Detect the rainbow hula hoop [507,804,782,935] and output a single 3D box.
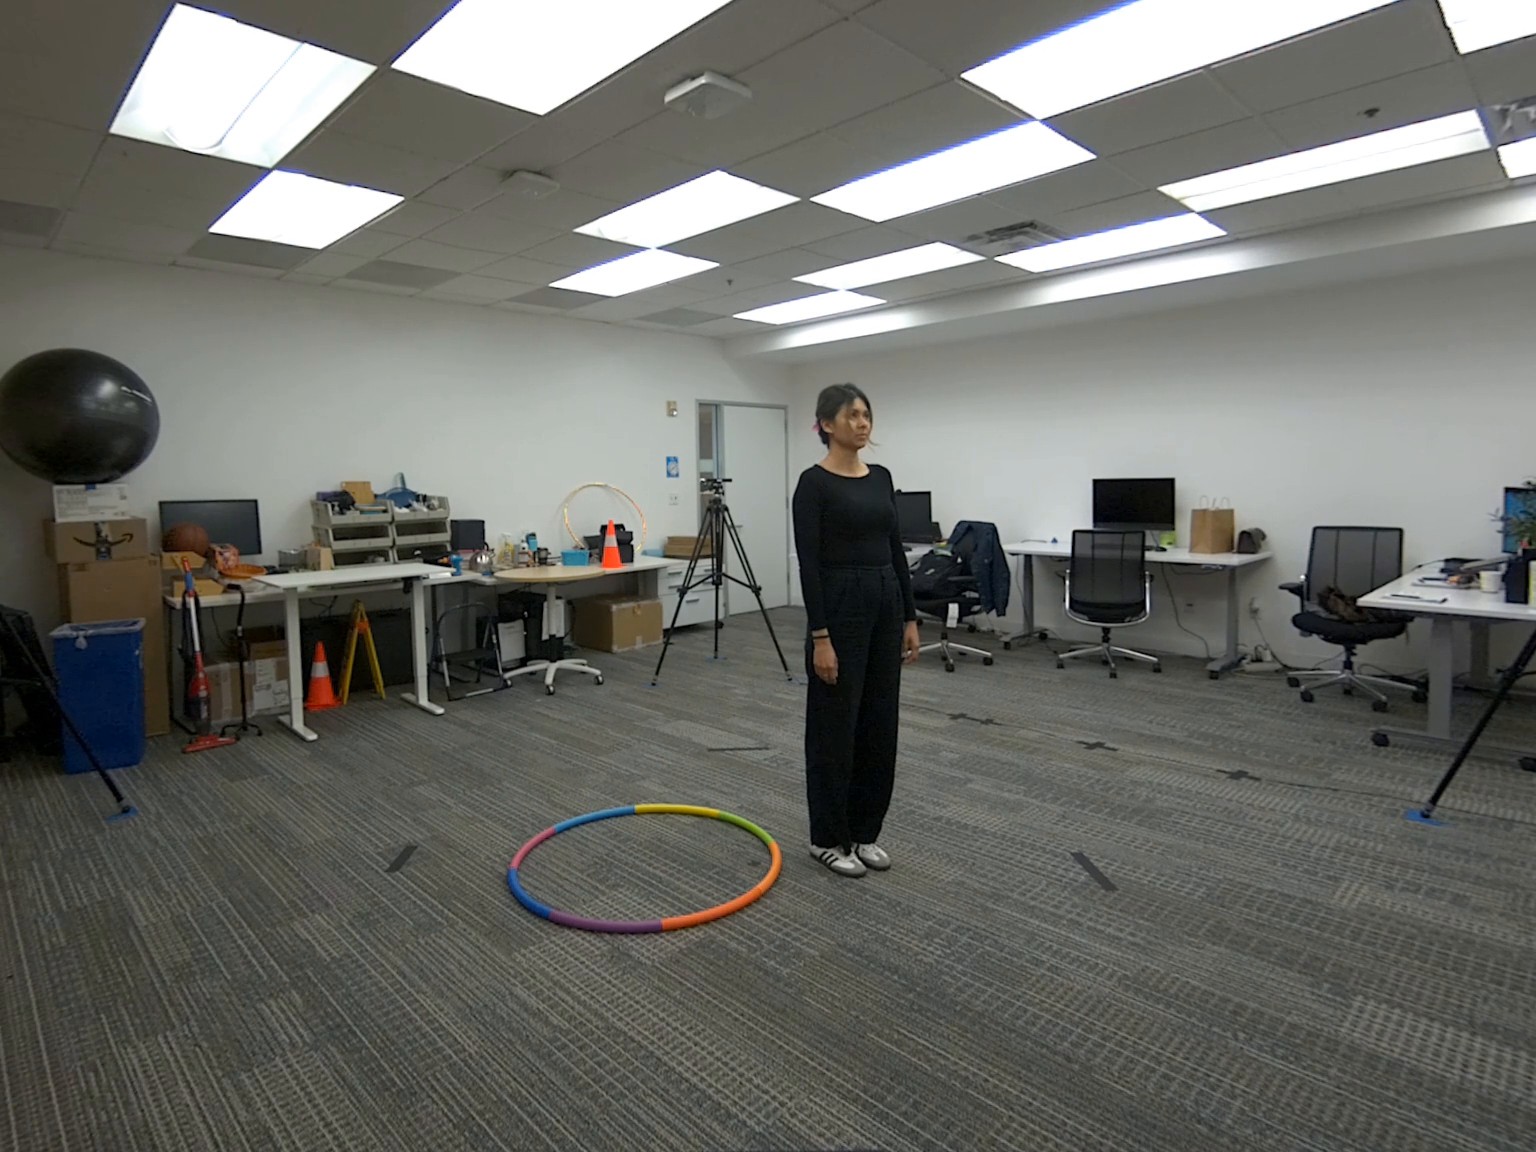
[{"bbox_3d":[-0.444,1.018,3.123,0.978,0.035,0.984,-1,7,-2],"label":"rainbow hula hoop"}]
